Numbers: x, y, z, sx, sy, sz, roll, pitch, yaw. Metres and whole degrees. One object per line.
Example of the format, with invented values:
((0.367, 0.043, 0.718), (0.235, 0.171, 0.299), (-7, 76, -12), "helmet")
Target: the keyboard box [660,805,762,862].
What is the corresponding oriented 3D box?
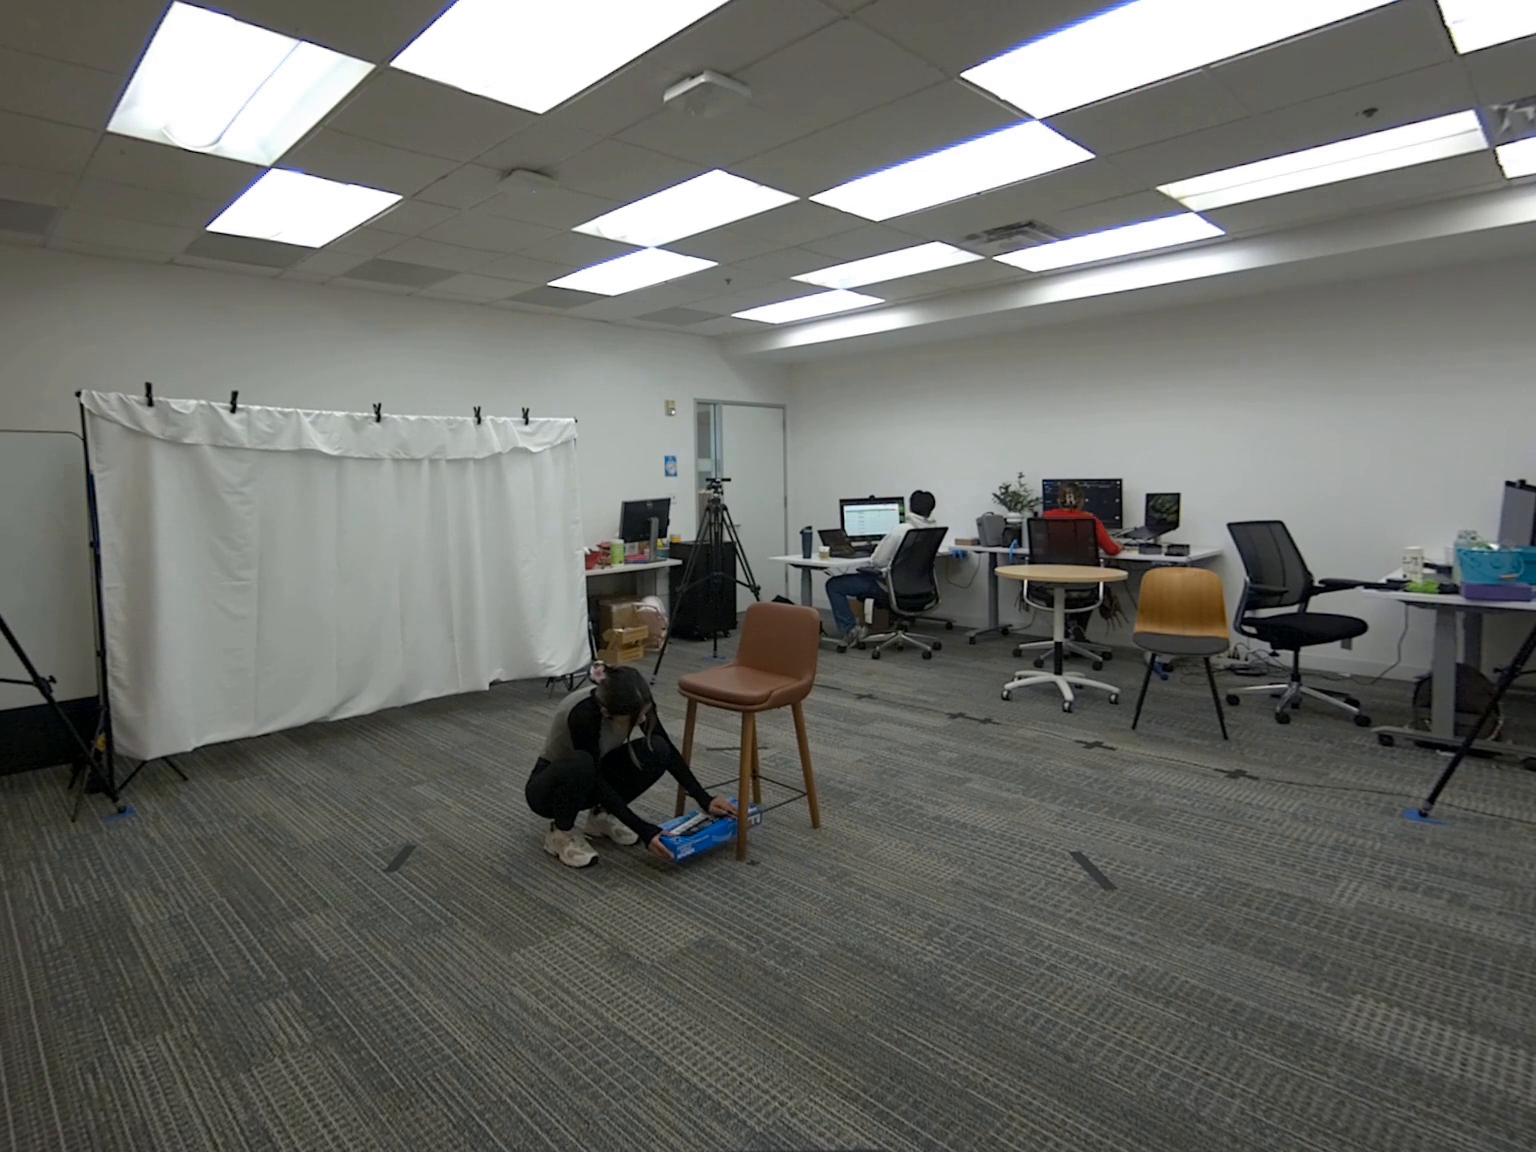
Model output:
((-0.239, 0.933, 3.176), (0.181, 0.059, 0.425), (6, 10, 44), "keyboard box")
